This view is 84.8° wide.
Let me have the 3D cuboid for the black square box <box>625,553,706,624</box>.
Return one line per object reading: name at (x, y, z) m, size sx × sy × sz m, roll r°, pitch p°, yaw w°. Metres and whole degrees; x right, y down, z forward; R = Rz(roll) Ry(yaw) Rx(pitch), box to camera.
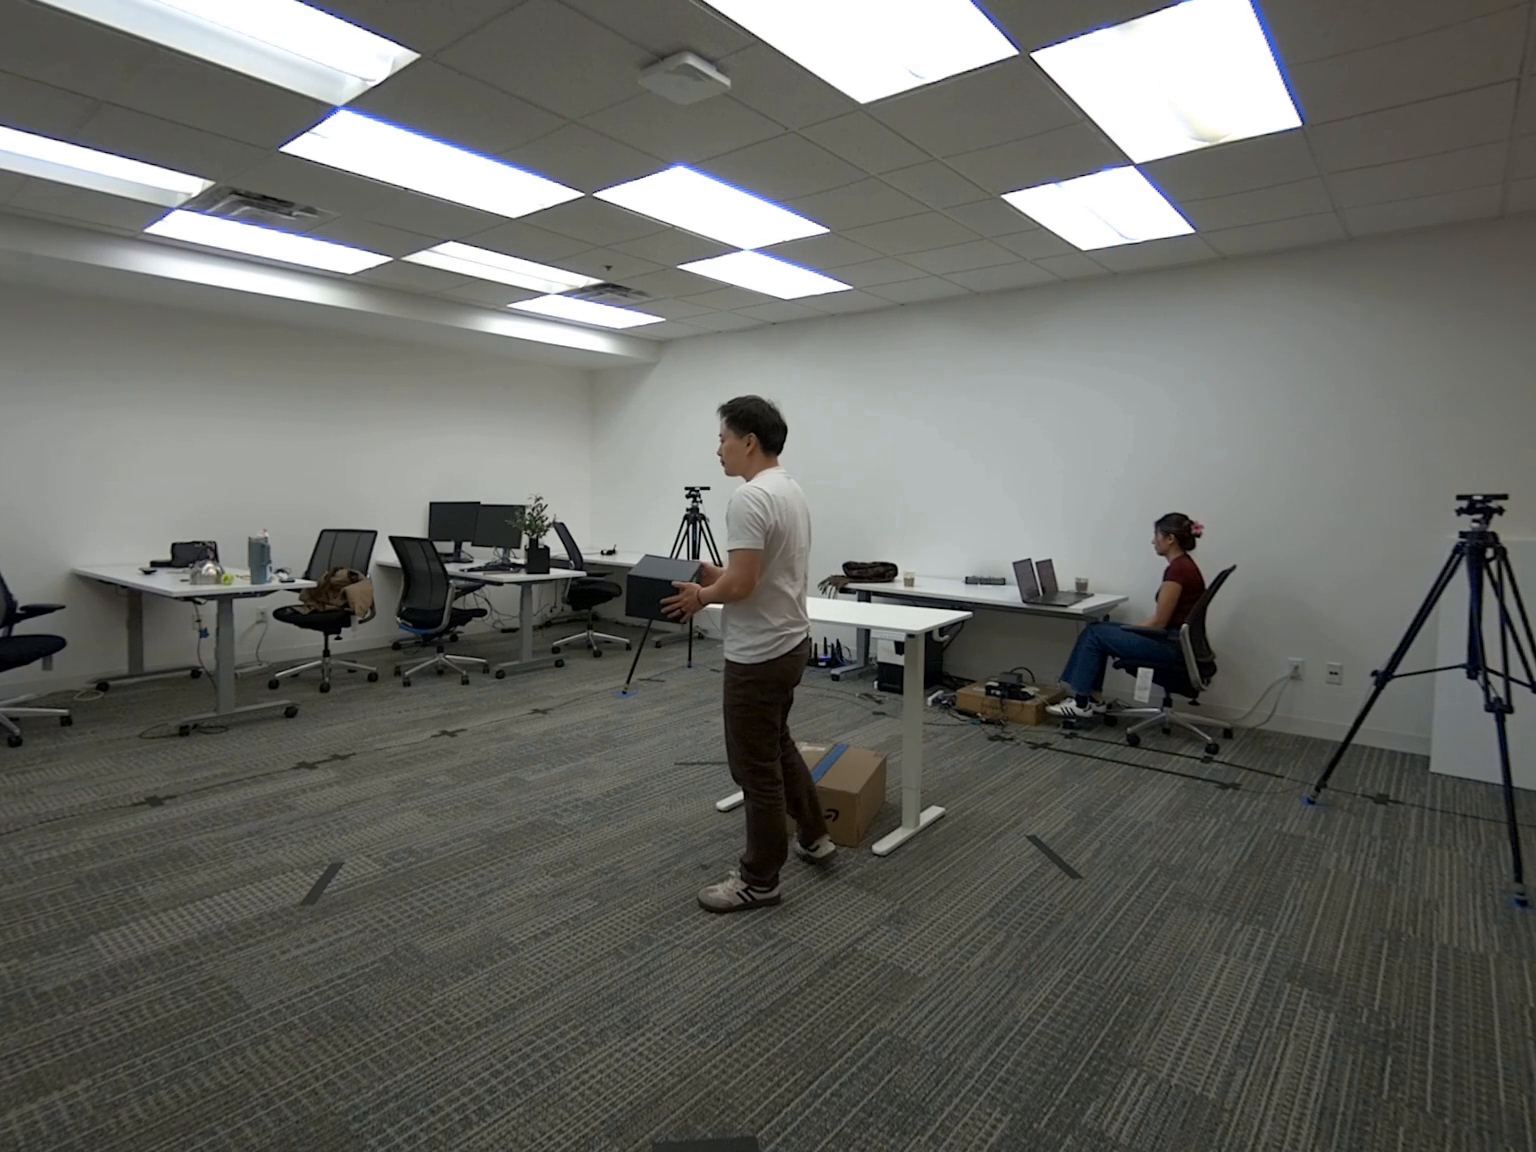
black square box at (-0.362, 0.038, 2.978) m, size 0.220 × 0.154 × 0.228 m, roll 8°, pitch 17°, yaw 9°
